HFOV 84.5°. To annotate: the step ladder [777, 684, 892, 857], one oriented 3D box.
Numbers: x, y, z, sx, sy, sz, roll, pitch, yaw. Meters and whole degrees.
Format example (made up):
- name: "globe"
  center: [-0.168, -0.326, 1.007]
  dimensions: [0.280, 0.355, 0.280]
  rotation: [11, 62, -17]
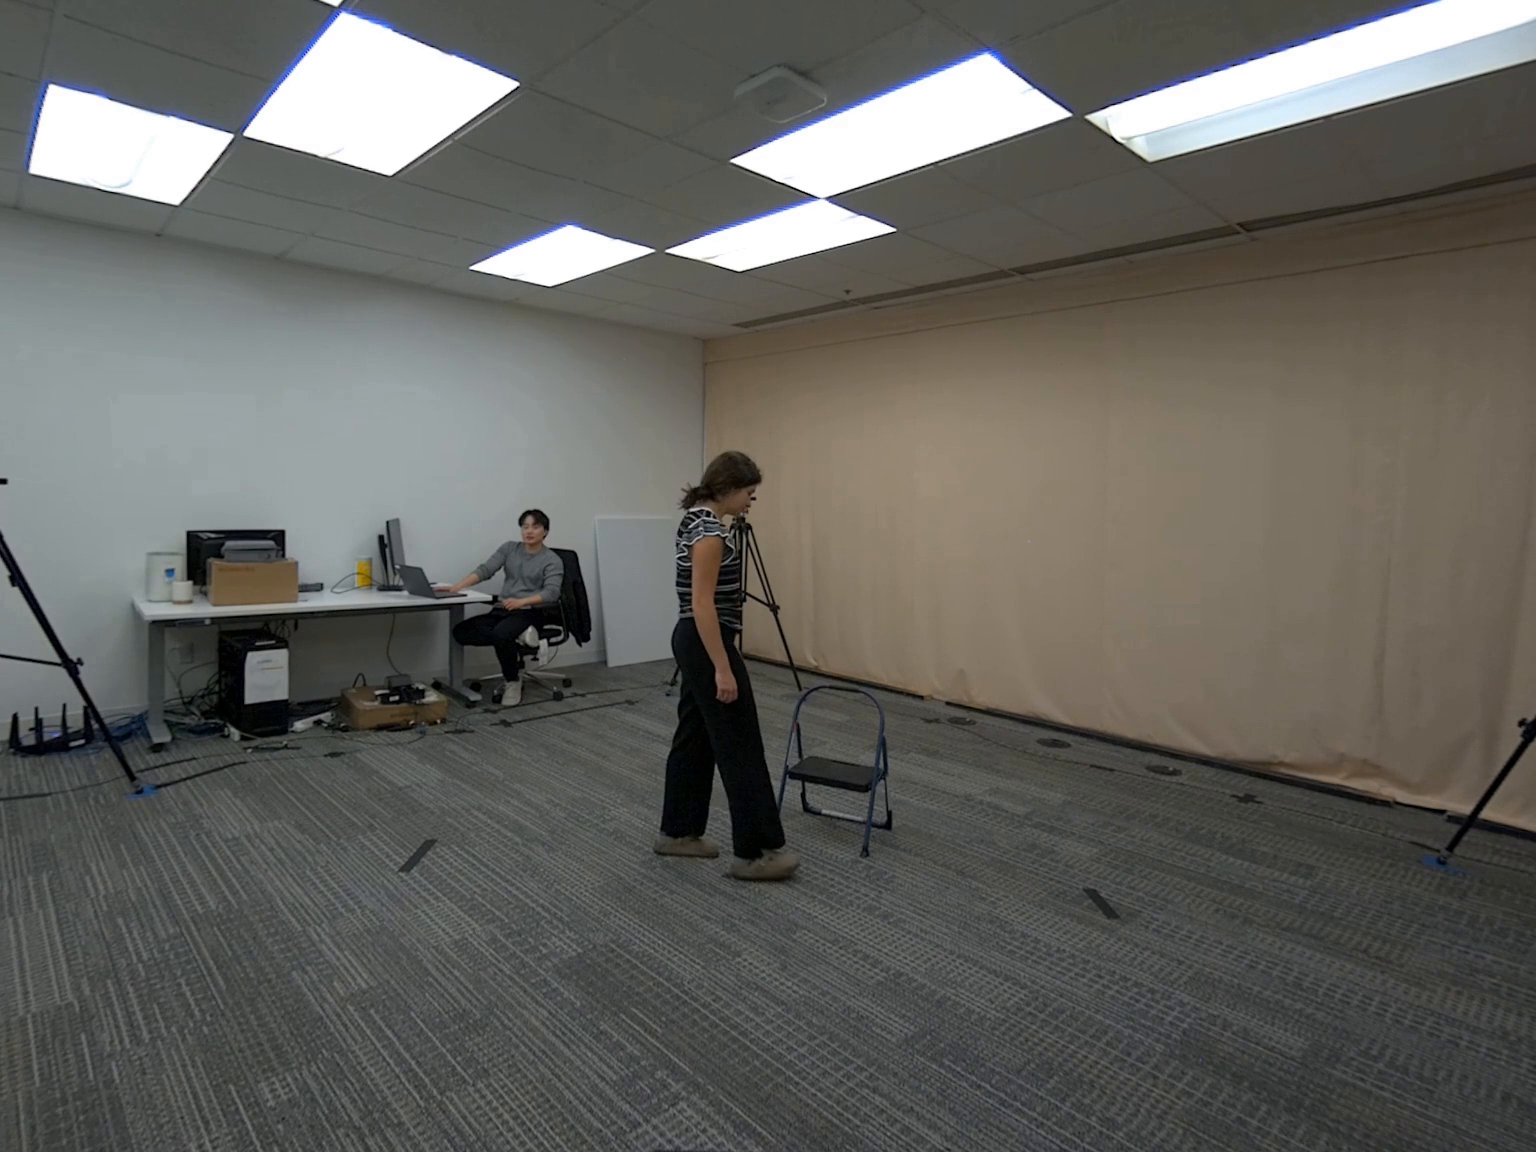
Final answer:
- name: "step ladder"
  center: [0.275, 0.778, 3.533]
  dimensions: [0.439, 0.604, 0.343]
  rotation: [3, 4, 27]
